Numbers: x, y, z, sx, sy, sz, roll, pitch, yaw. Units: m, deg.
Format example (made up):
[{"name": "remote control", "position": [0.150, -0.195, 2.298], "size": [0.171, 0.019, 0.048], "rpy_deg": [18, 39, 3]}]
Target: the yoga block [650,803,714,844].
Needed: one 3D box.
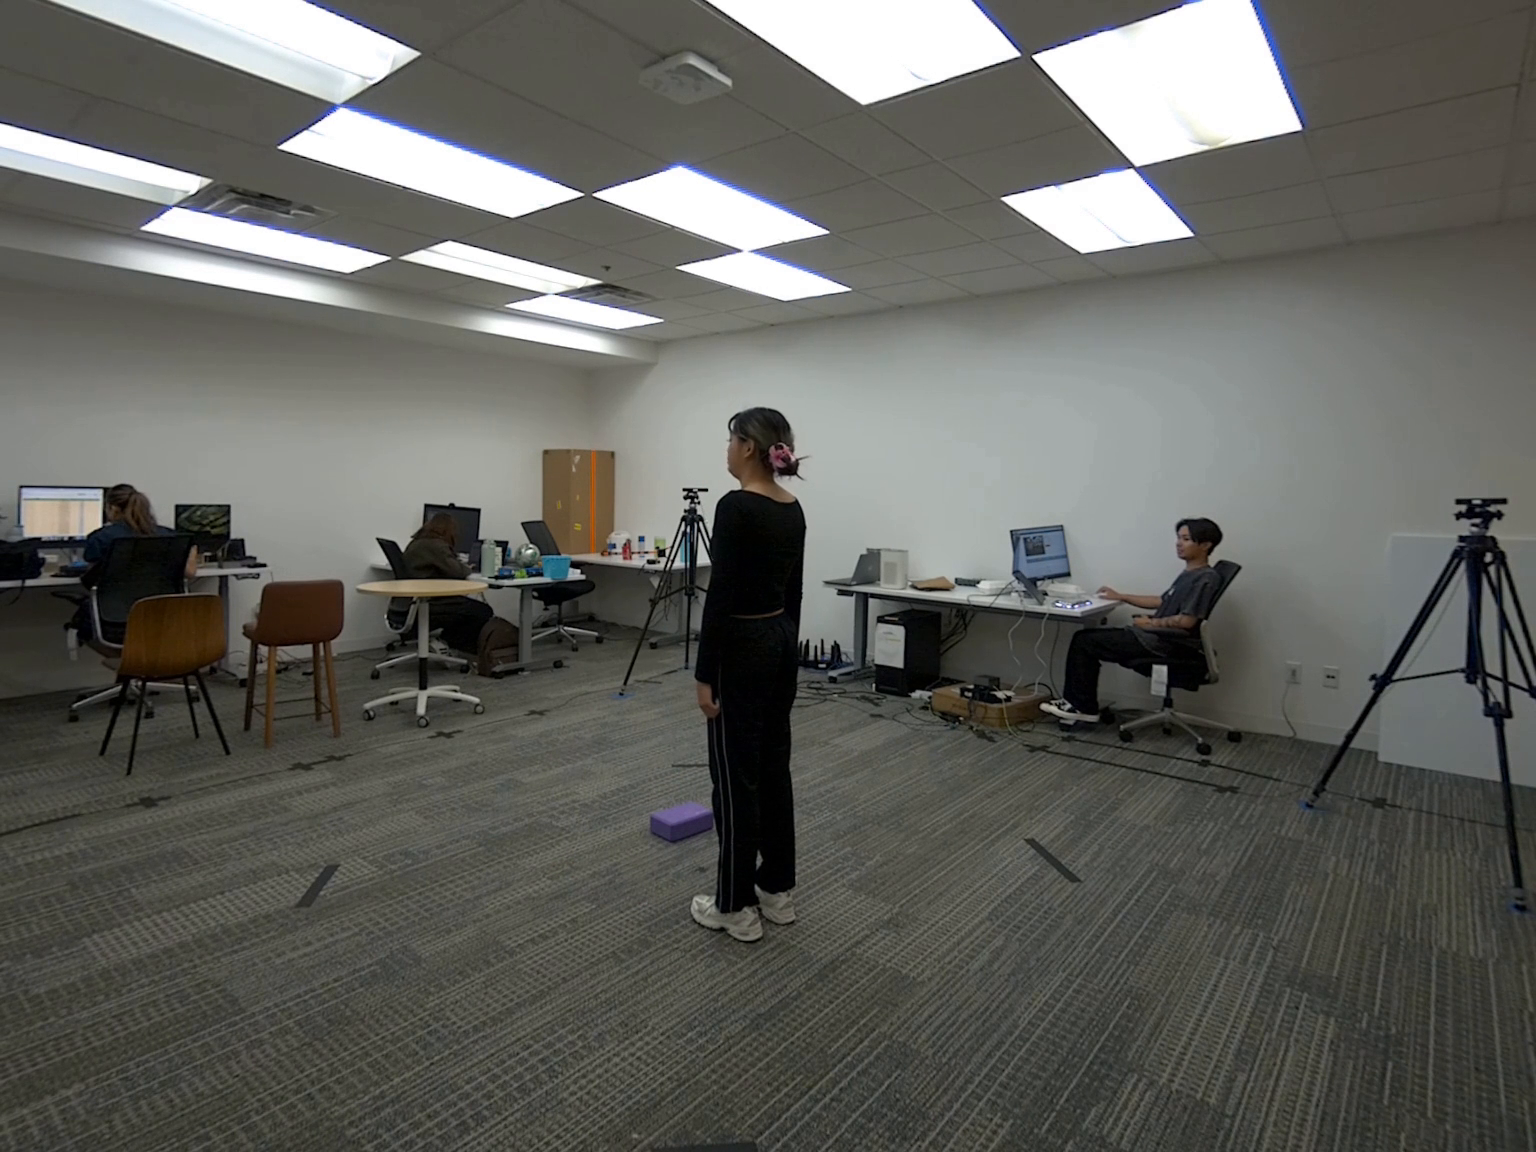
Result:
[{"name": "yoga block", "position": [-0.363, 0.995, 3.463], "size": [0.222, 0.076, 0.154], "rpy_deg": [-4, 6, -44]}]
